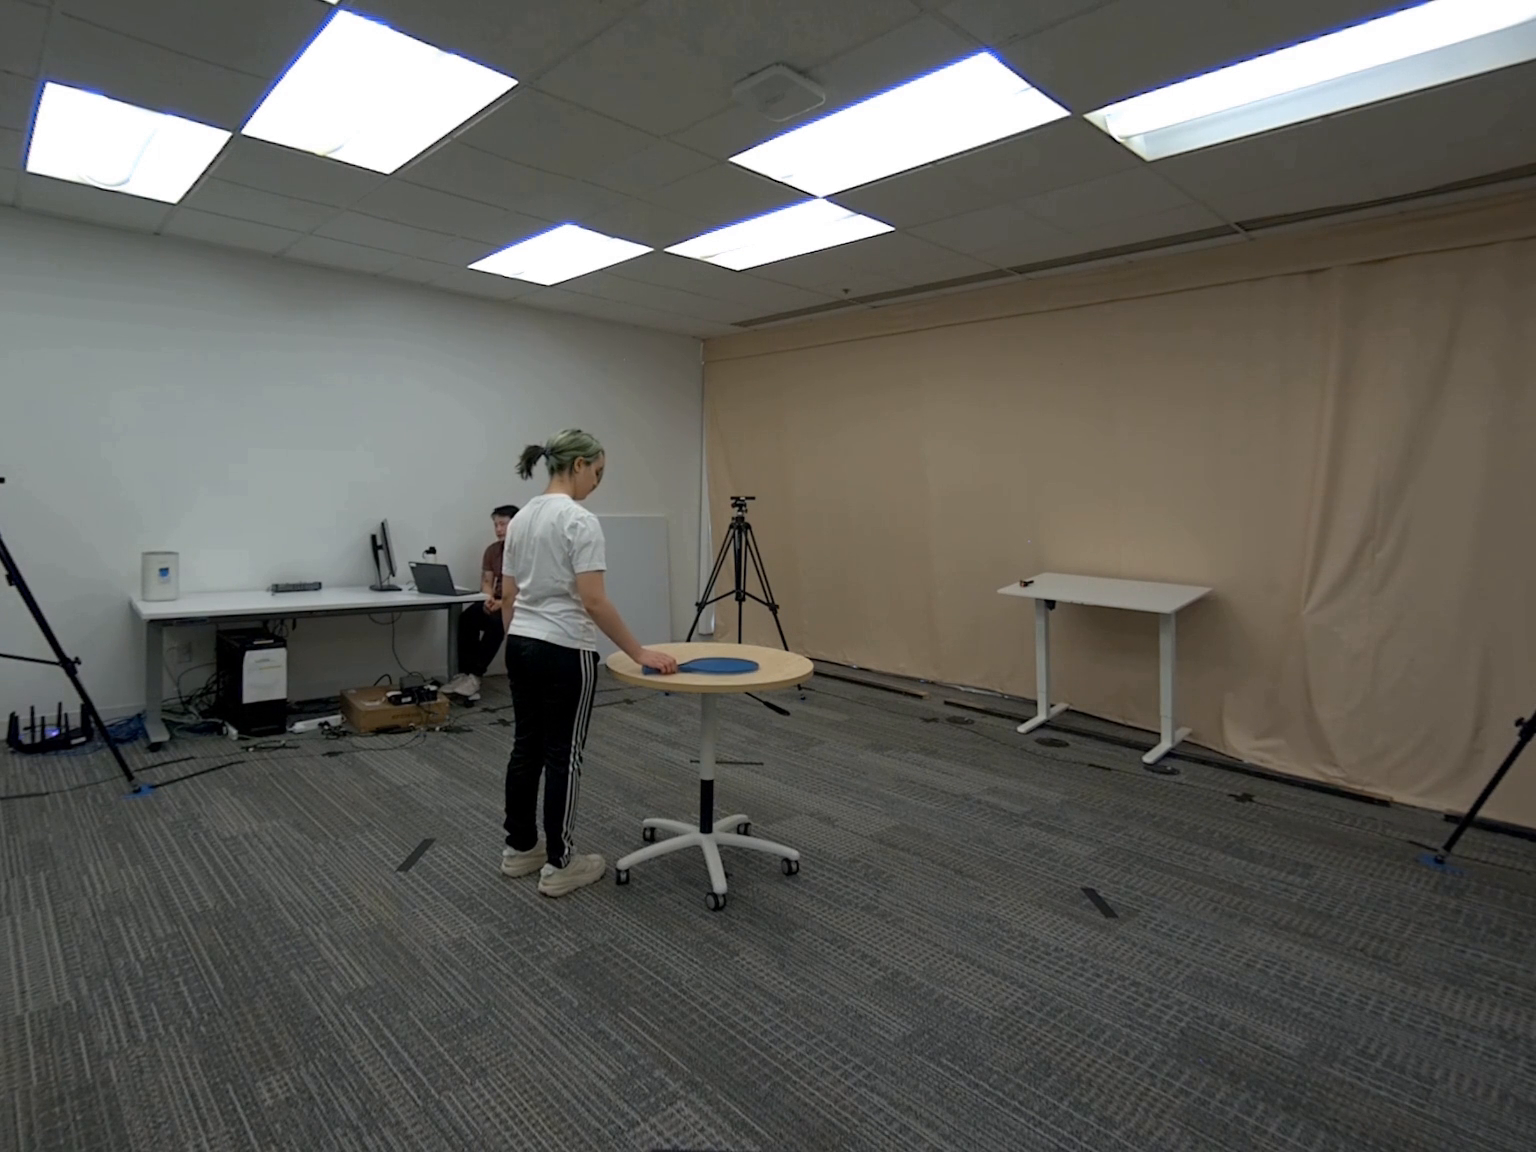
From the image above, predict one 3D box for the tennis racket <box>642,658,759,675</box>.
[{"bbox_3d":[-0.243,0.320,2.951,0.427,0.031,0.217,2,6,-15],"label":"tennis racket"}]
